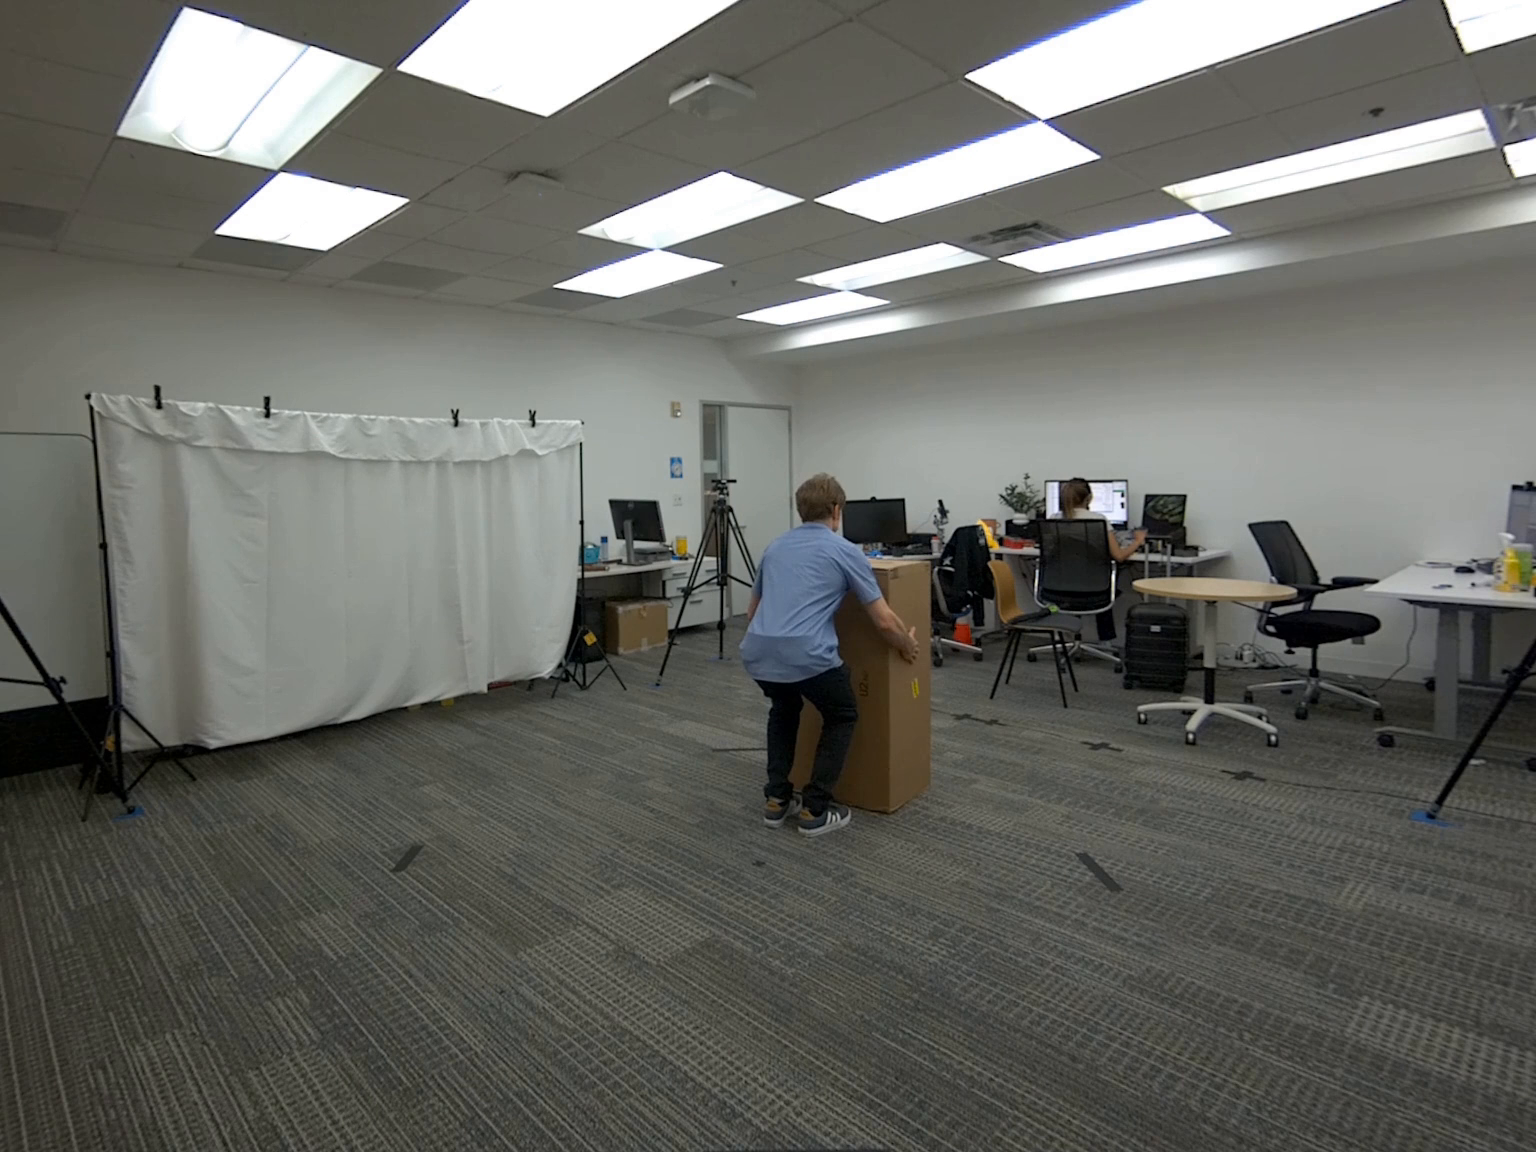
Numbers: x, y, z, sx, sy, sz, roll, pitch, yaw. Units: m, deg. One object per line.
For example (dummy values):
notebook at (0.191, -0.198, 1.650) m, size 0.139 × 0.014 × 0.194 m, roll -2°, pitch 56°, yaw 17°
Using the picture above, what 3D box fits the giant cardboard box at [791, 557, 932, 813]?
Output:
giant cardboard box at (0.383, 0.446, 3.854) m, size 0.594 × 1.023 × 0.415 m, roll 2°, pitch 4°, yaw 36°
